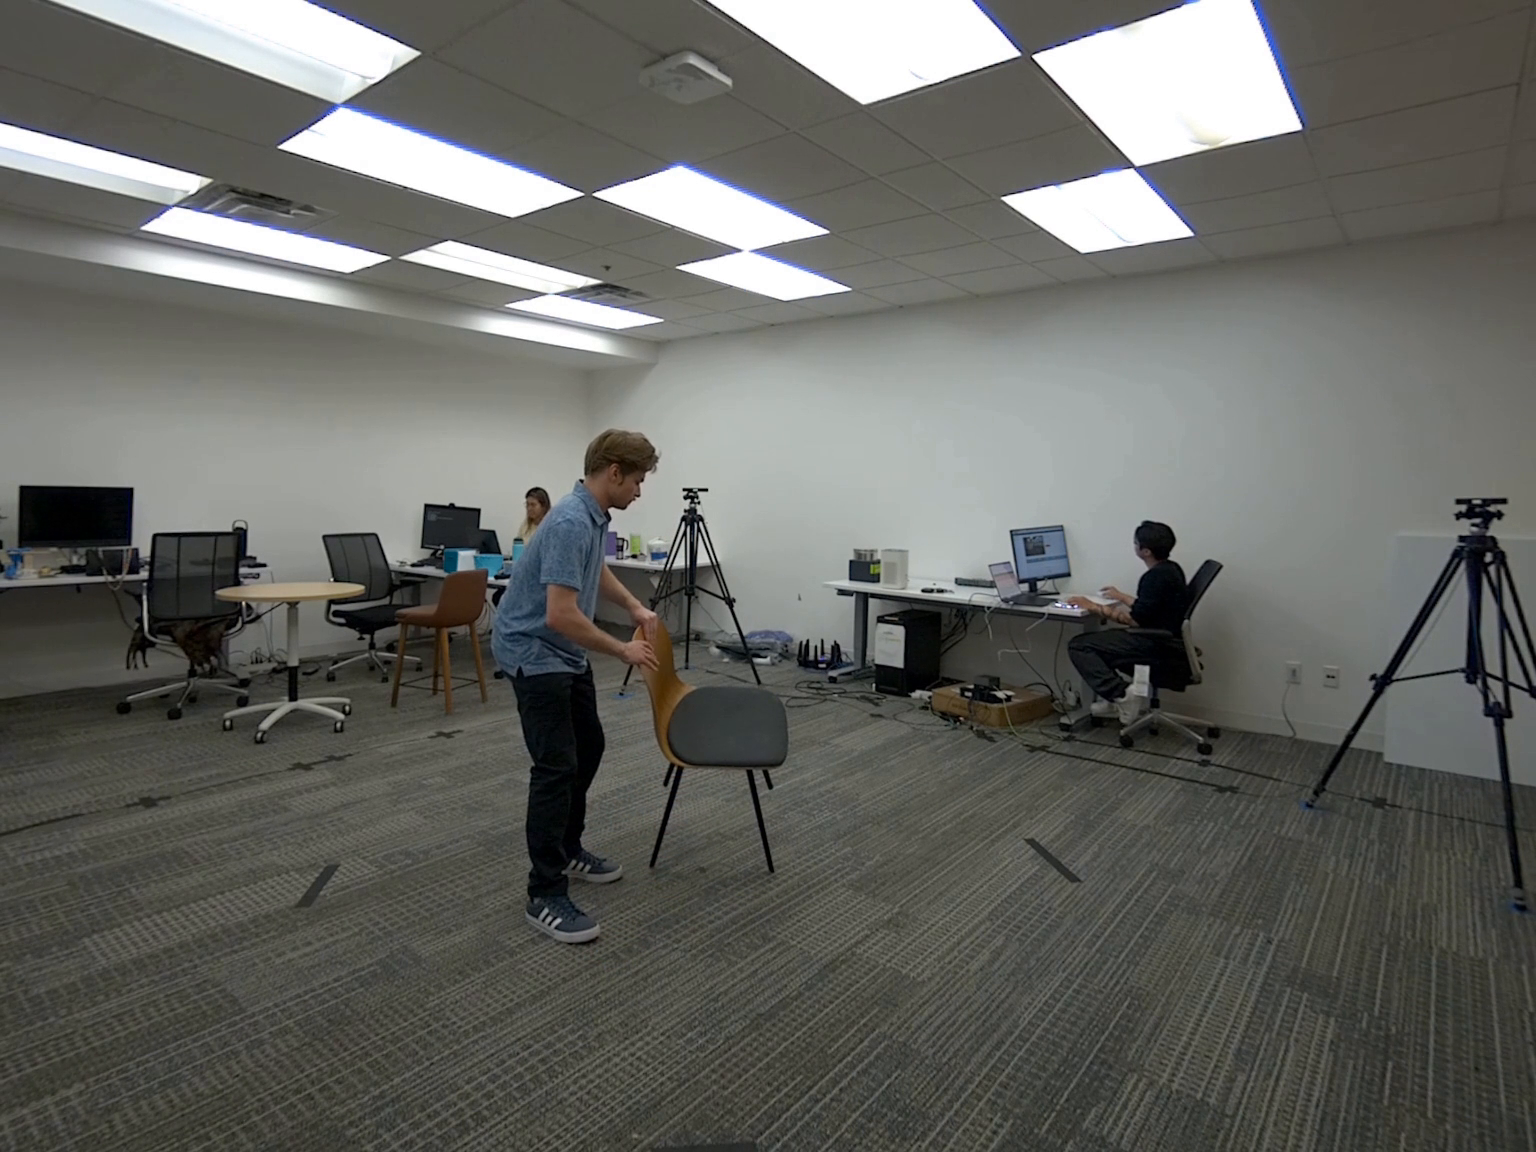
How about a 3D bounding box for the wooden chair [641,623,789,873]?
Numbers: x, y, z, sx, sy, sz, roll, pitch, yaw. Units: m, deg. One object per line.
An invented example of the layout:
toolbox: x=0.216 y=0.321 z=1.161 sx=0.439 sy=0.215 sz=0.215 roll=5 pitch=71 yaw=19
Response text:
wooden chair: x=-0.196 y=0.594 z=3.139 sx=0.525 sy=0.857 sz=0.488 roll=-2 pitch=25 yaw=2
